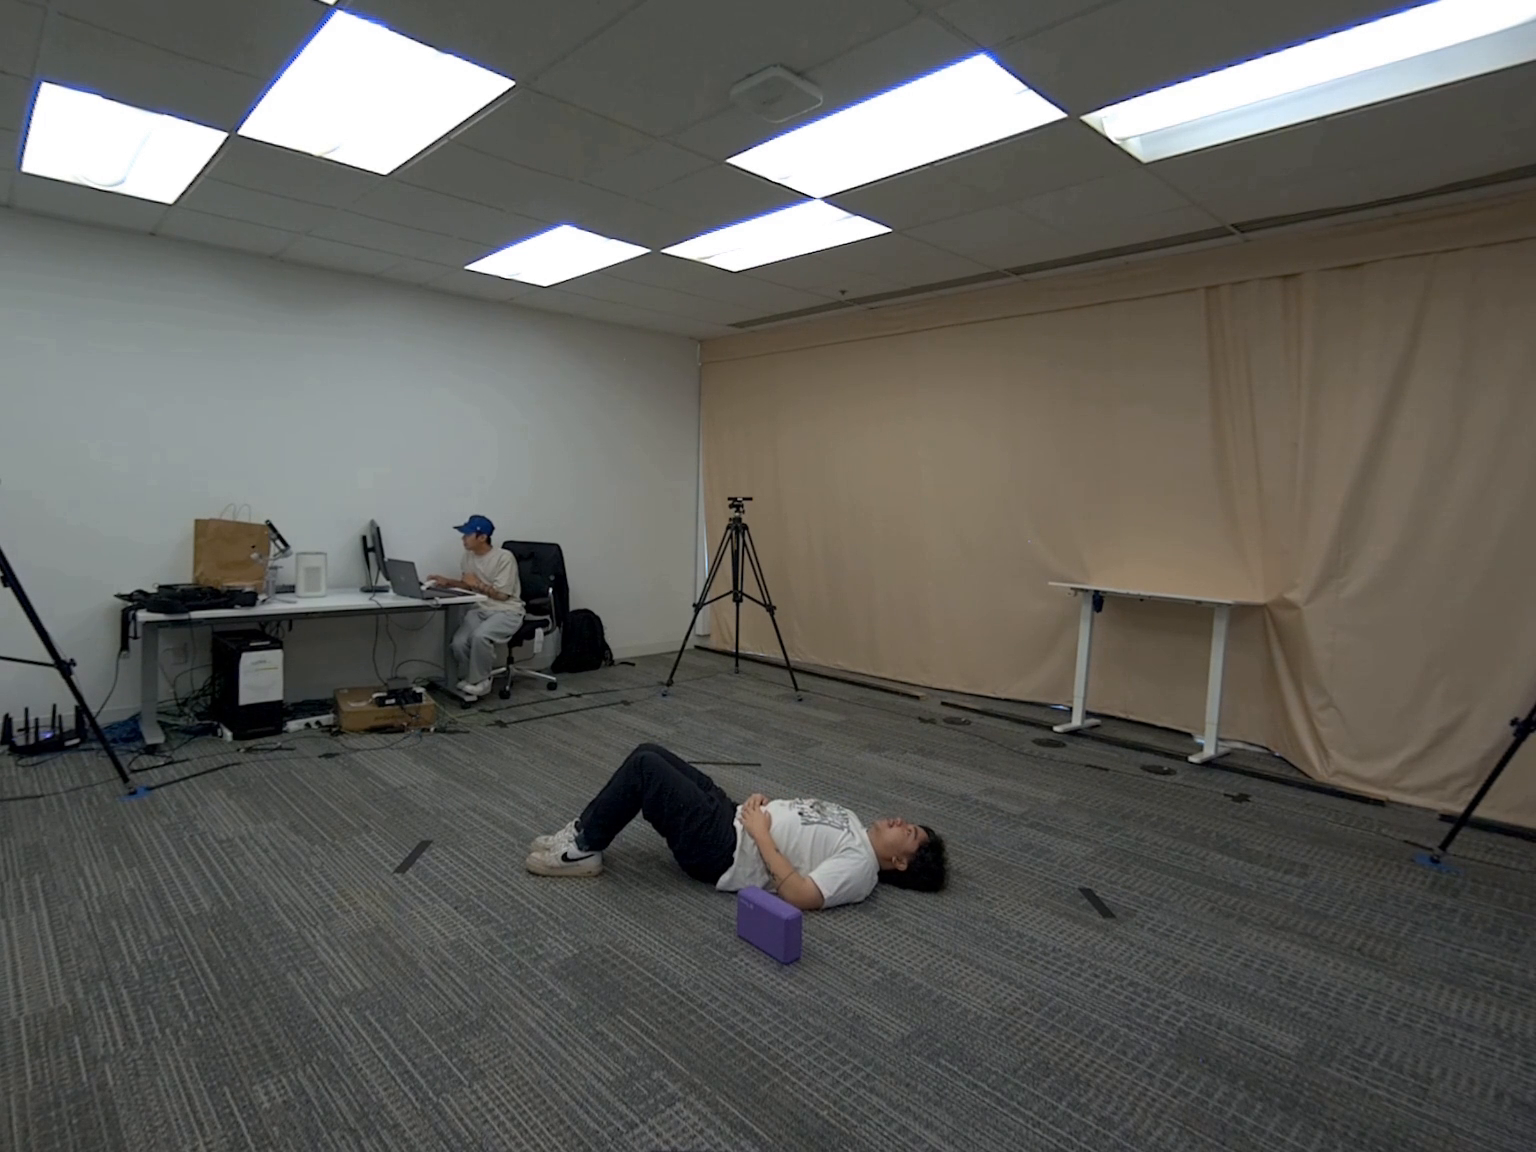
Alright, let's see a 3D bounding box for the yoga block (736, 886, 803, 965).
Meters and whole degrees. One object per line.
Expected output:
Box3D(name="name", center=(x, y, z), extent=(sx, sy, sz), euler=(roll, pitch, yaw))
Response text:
Box3D(name="yoga block", center=(-0.004, 1.081, 2.612), extent=(0.075, 0.148, 0.235), euler=(-2, 6, -43))
